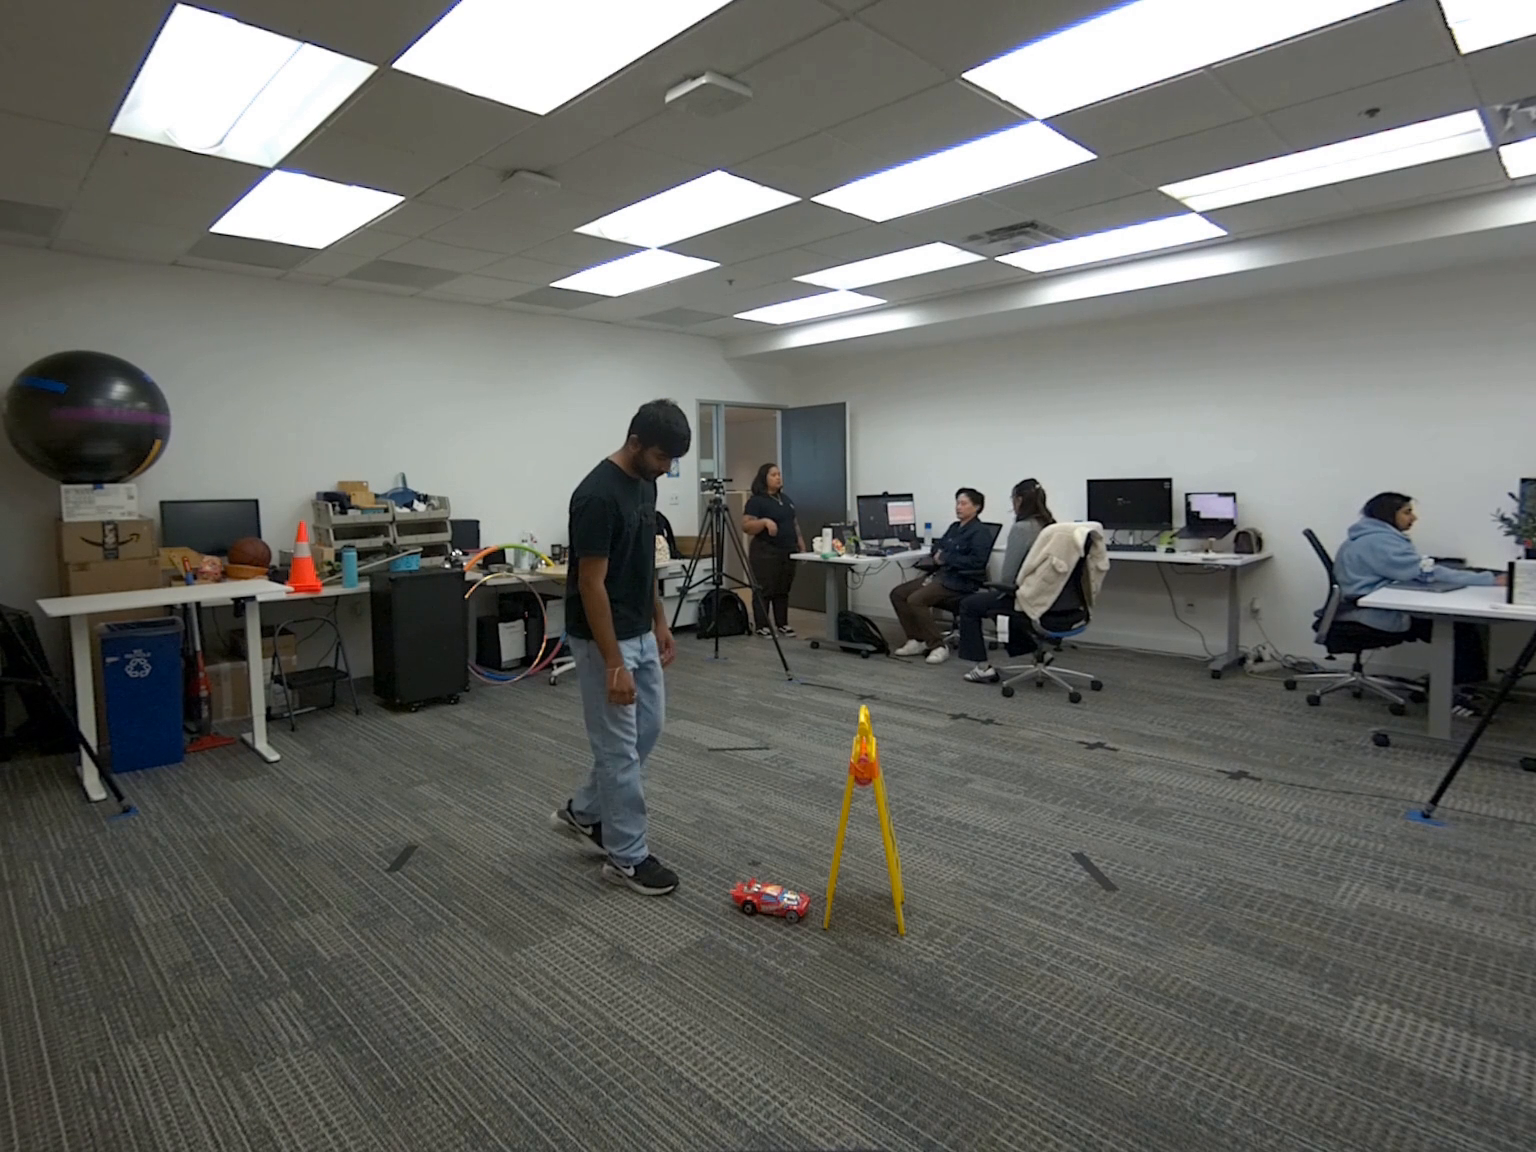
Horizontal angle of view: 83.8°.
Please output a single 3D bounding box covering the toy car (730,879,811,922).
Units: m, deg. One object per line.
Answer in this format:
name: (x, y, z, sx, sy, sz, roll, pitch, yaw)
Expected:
toy car: (0.006, 1.048, 2.772, 0.260, 0.082, 0.129, 13, 12, 18)
